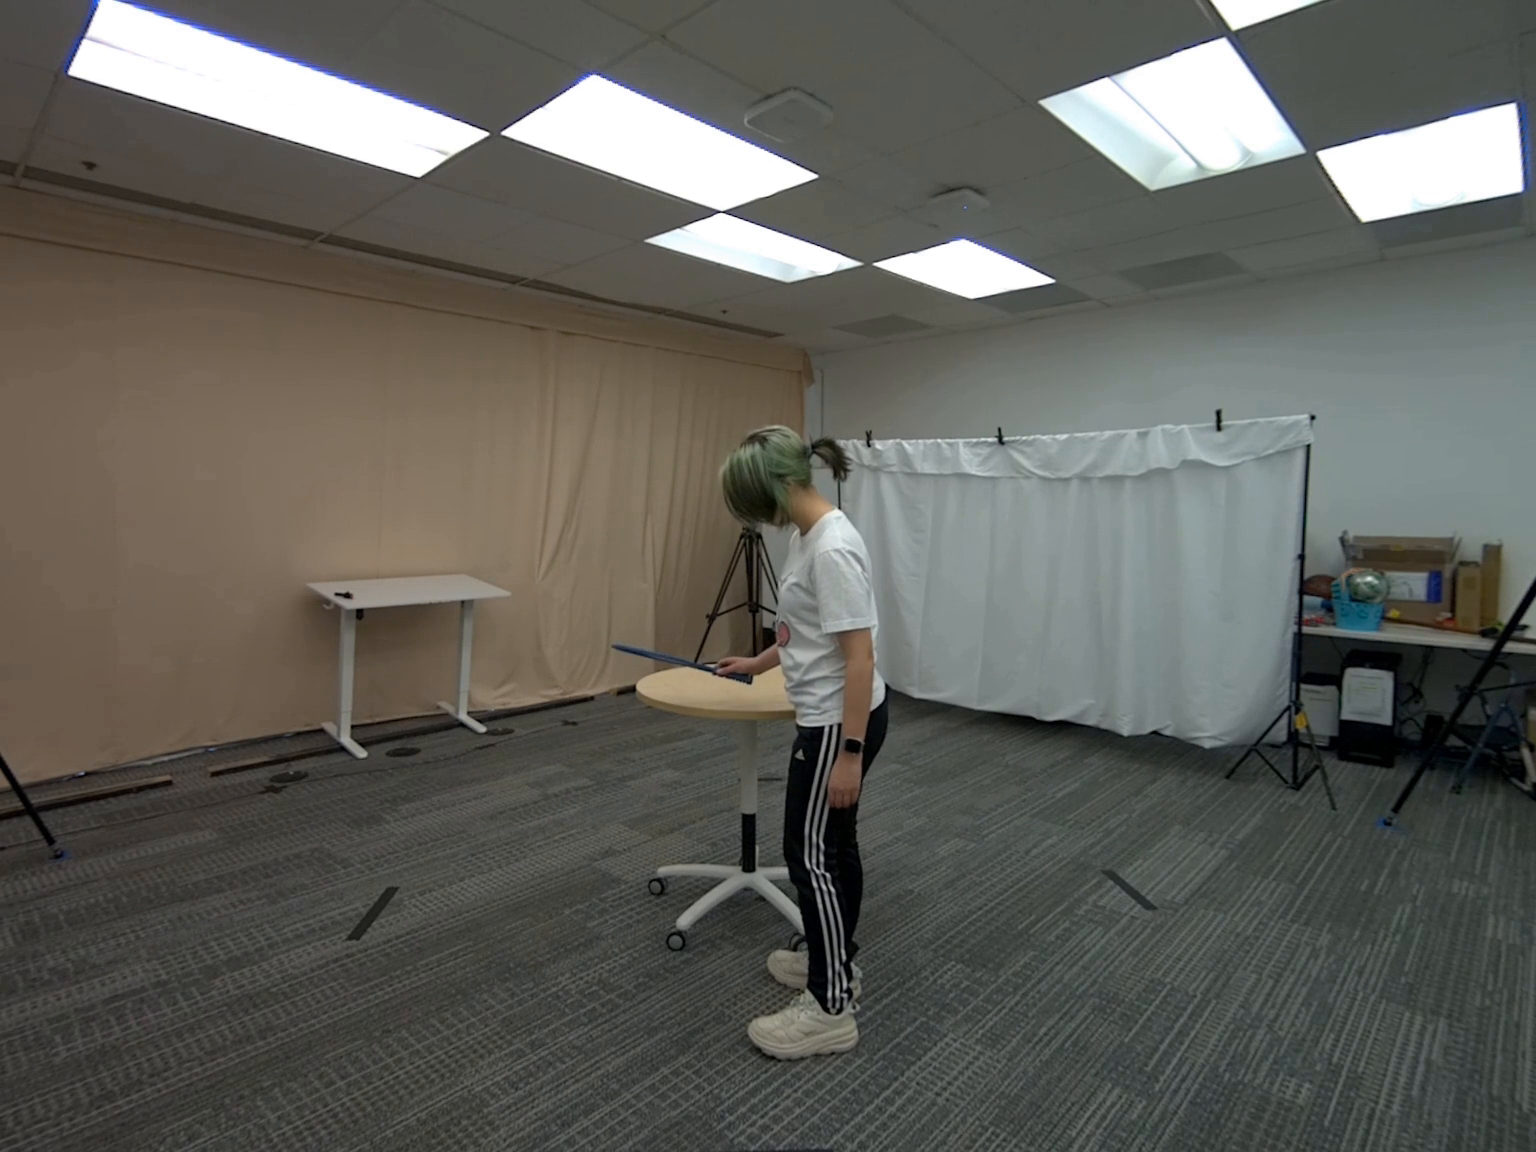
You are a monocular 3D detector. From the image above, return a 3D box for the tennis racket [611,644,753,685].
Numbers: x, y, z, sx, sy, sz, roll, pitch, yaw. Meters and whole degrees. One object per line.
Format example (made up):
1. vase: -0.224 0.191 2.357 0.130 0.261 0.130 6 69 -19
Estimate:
1. tennis racket: -0.239 0.273 2.497 0.432 0.032 0.213 14 -12 -1
